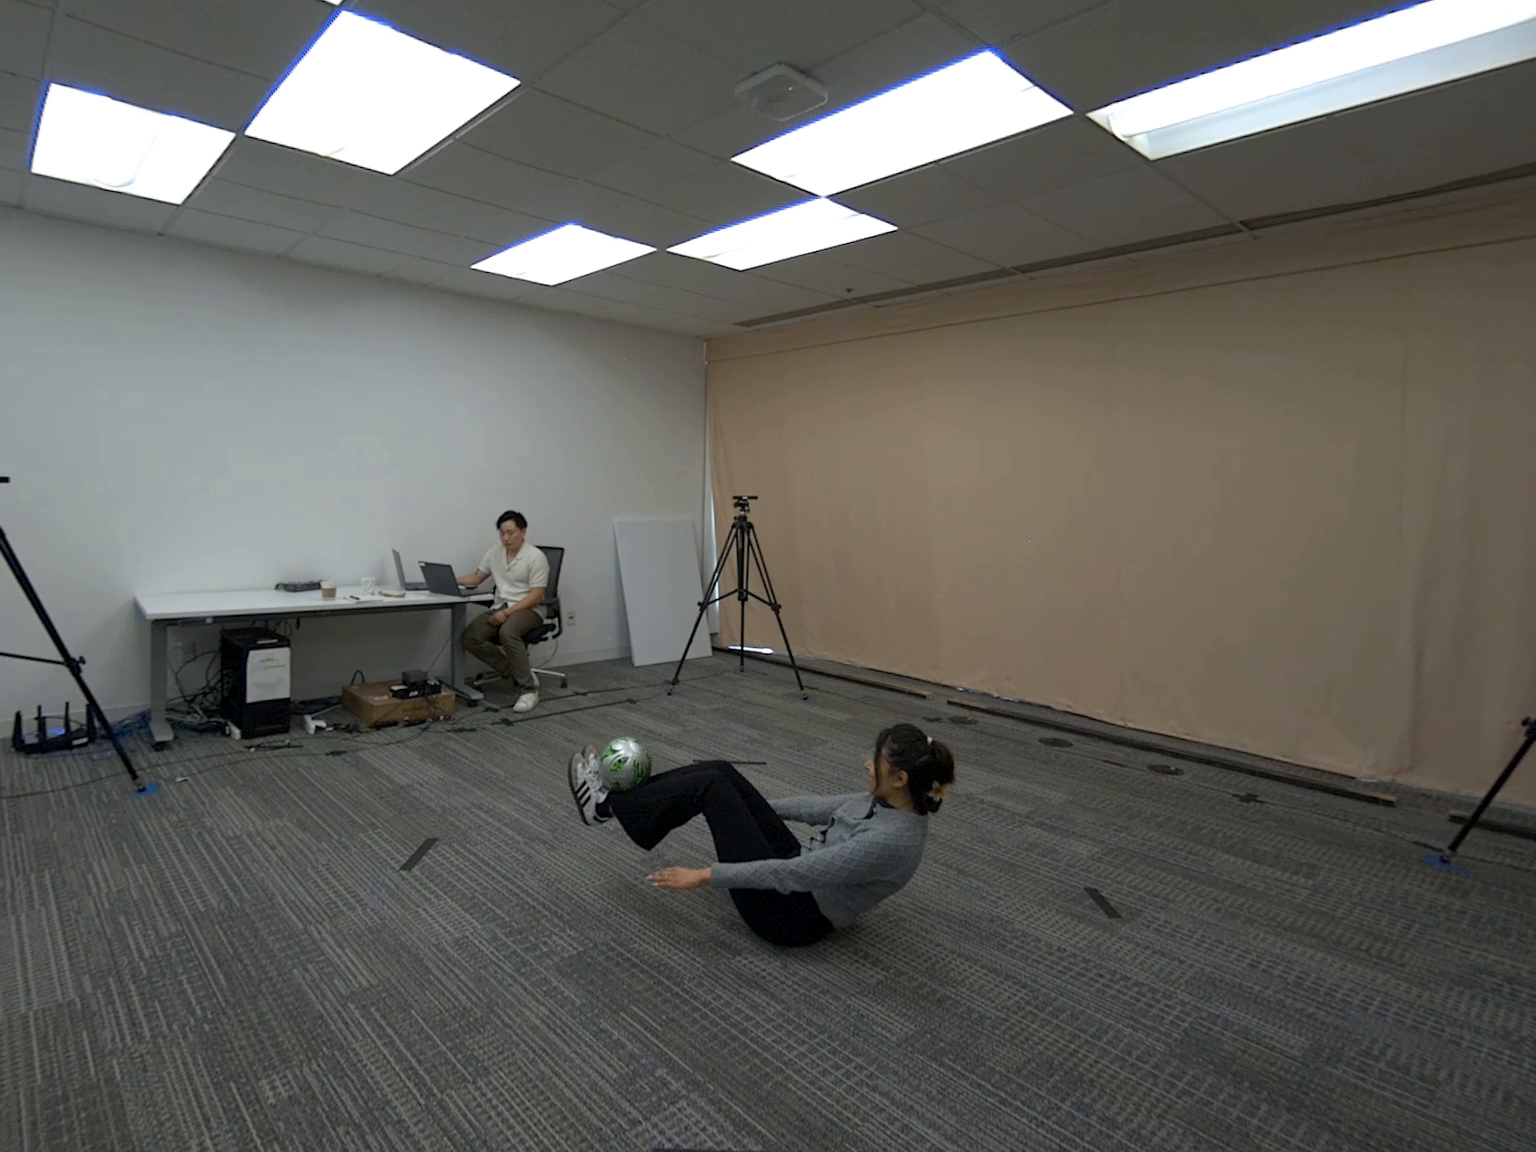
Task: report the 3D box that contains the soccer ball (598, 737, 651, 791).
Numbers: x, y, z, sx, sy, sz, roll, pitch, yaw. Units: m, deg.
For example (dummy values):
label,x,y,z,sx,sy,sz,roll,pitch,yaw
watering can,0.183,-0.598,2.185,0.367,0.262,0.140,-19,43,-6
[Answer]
label,x,y,z,sx,sy,sz,roll,pitch,yaw
soccer ball,-0.505,0.661,2.908,0.187,0.187,0.188,1,4,-1
